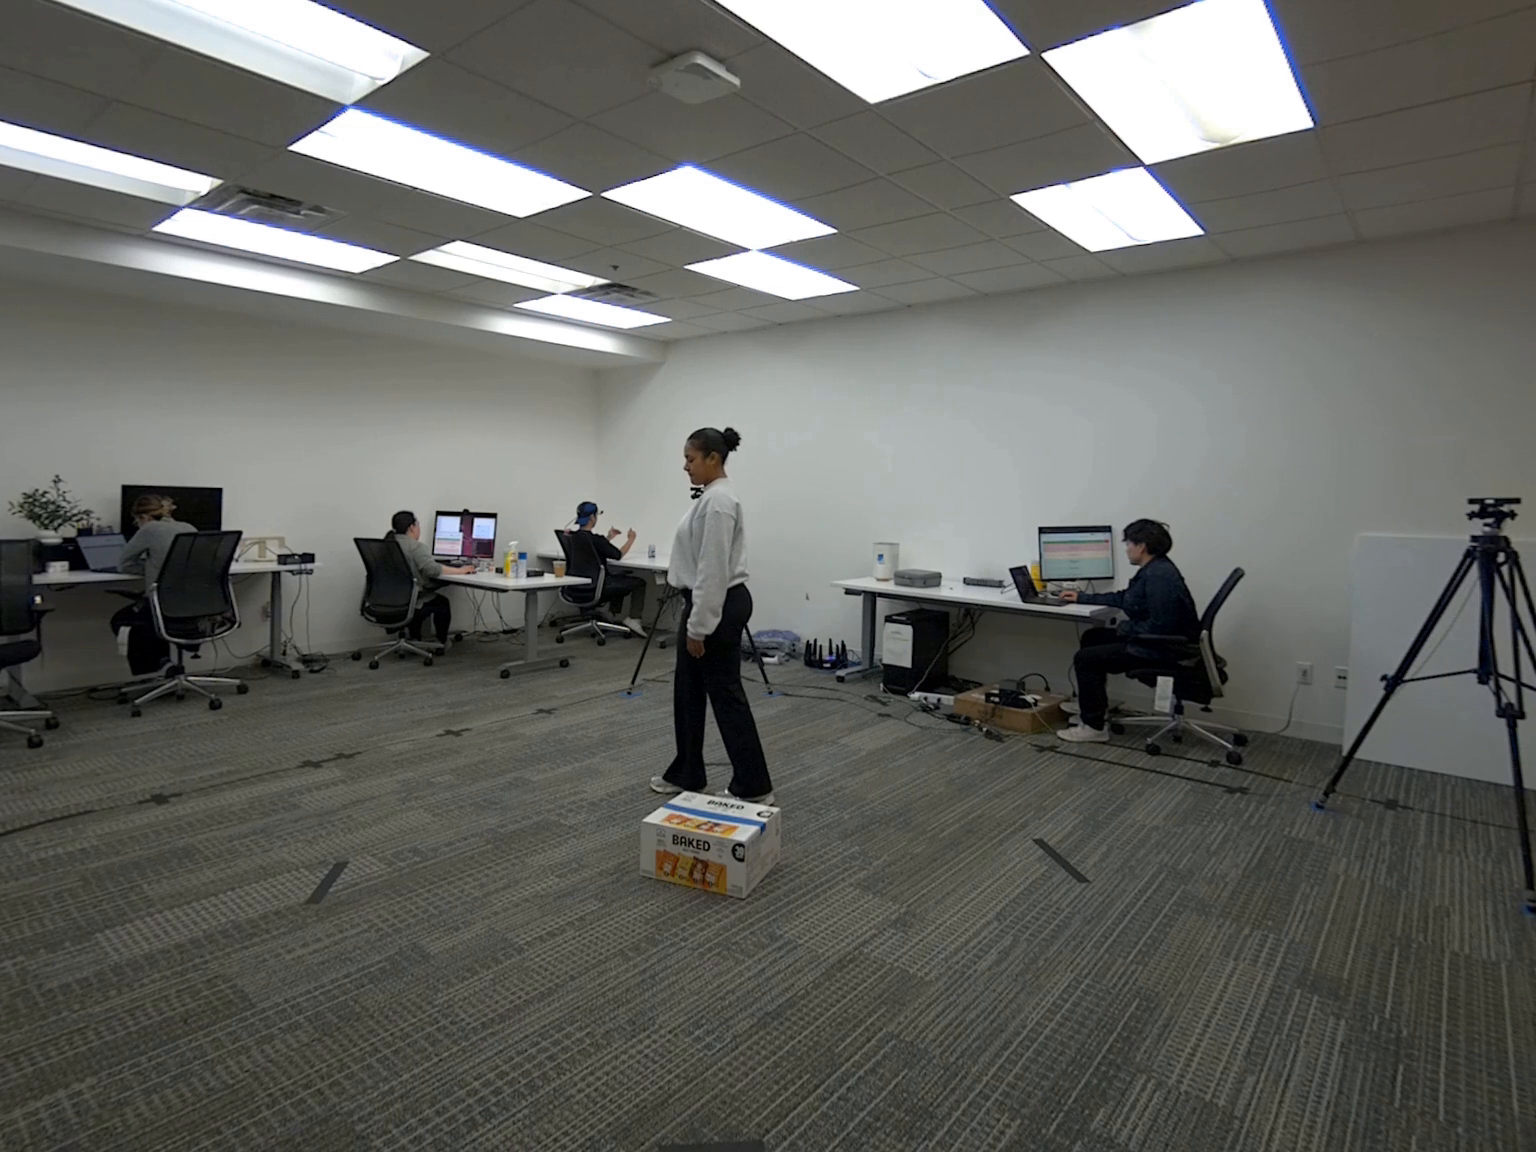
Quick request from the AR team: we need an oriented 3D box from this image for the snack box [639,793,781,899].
[{"bbox_3d":[-0.217,0.964,3.100,0.415,0.205,0.333,3,5,23],"label":"snack box"}]
